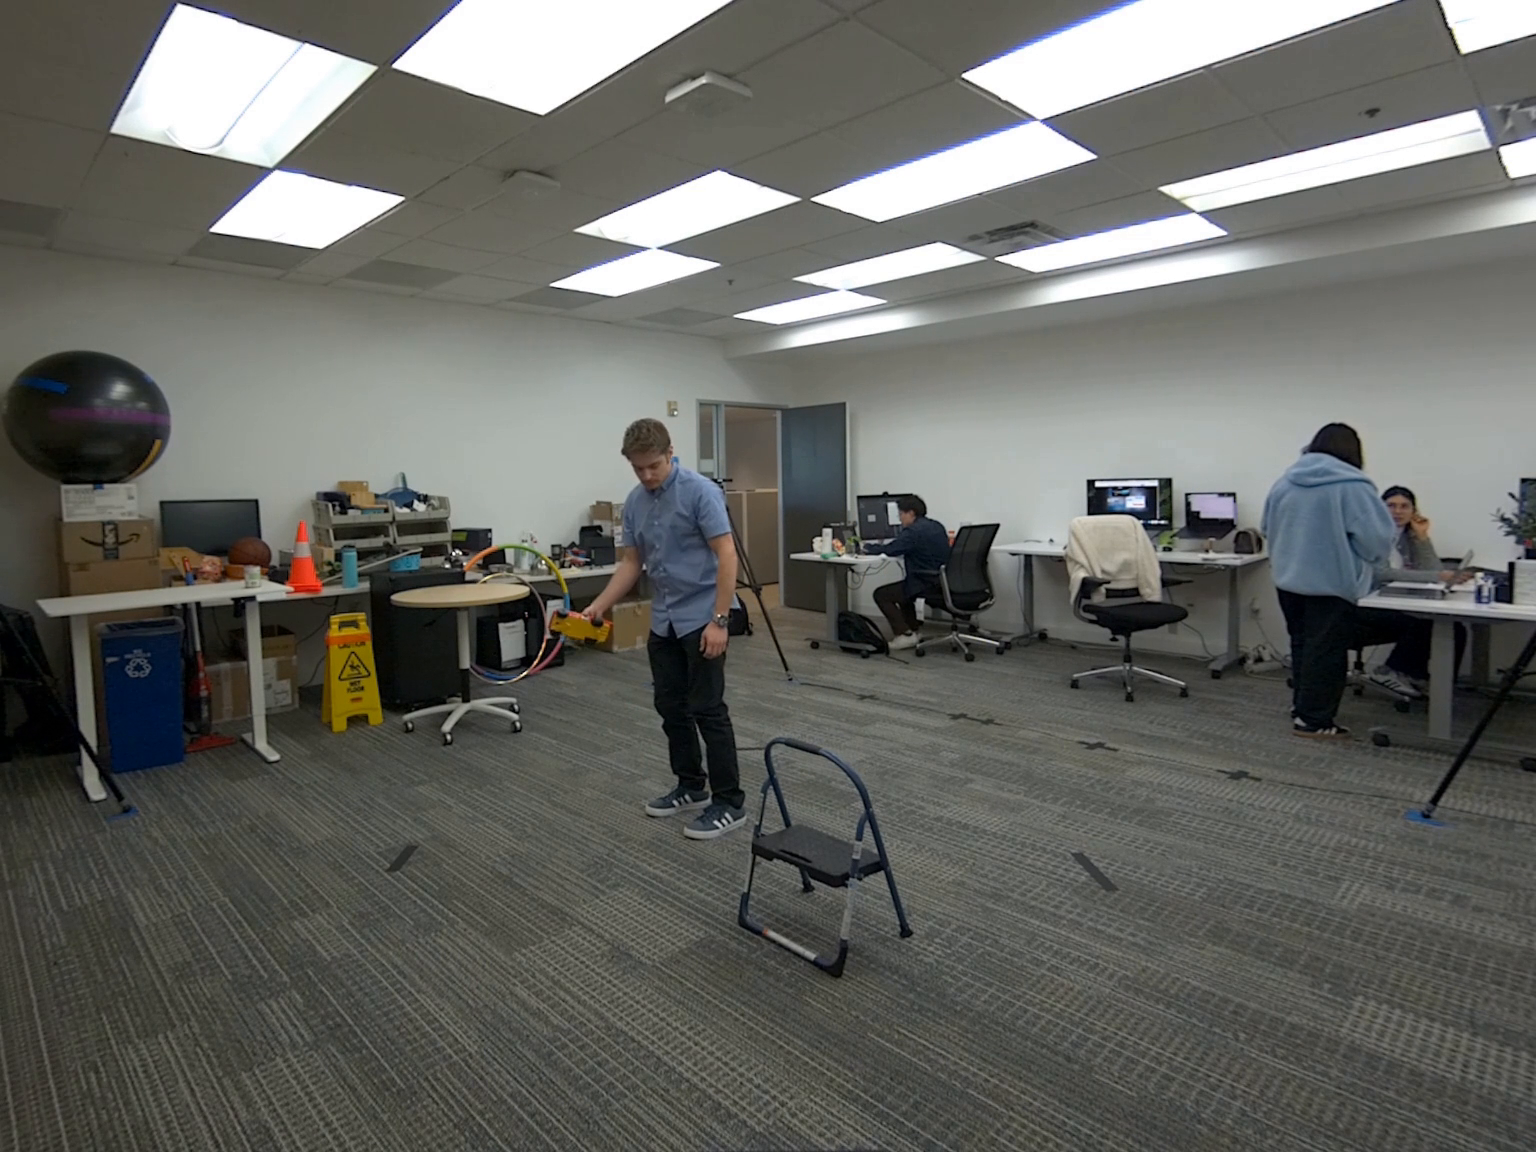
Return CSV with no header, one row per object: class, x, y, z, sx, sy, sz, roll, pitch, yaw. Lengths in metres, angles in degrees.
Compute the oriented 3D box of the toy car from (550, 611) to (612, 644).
toy car,-0.749,0.219,3.428,0.247,0.129,0.086,13,20,-30
